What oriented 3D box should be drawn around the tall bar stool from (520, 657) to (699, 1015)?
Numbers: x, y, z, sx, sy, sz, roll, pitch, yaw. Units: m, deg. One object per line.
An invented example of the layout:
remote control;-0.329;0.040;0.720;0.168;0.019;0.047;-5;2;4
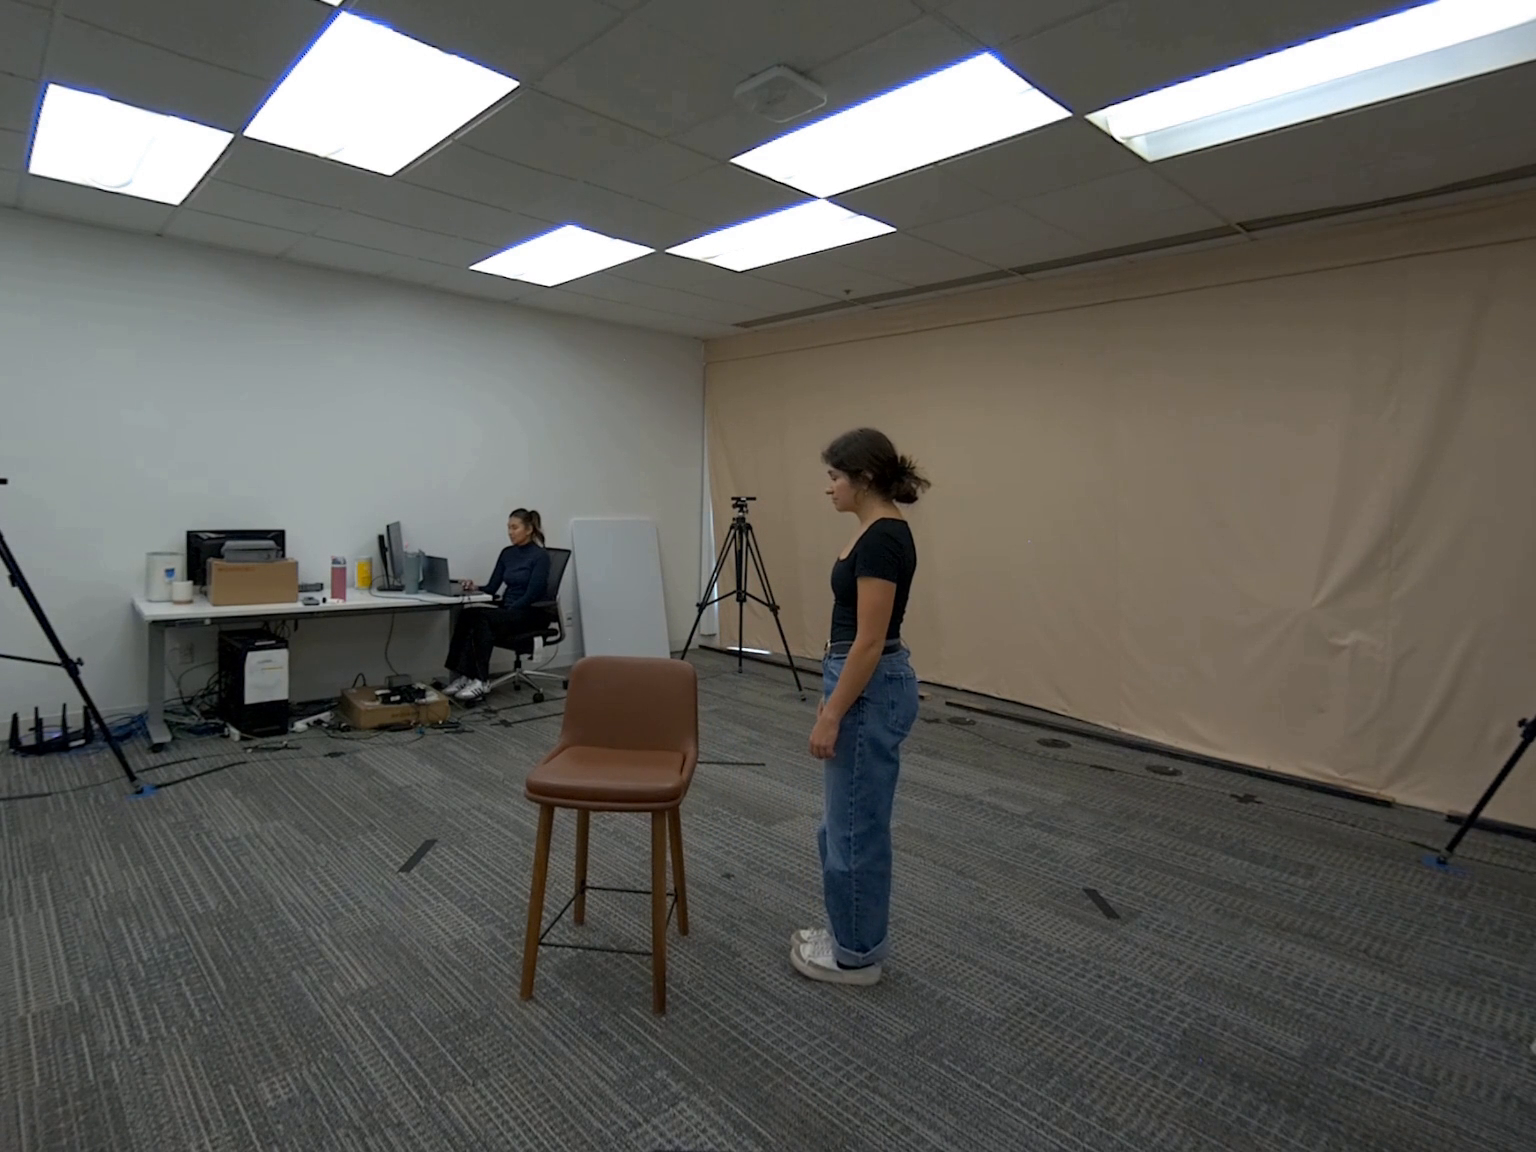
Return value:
tall bar stool;-0.452;0.721;2.485;0.460;0.889;0.465;2;1;8
